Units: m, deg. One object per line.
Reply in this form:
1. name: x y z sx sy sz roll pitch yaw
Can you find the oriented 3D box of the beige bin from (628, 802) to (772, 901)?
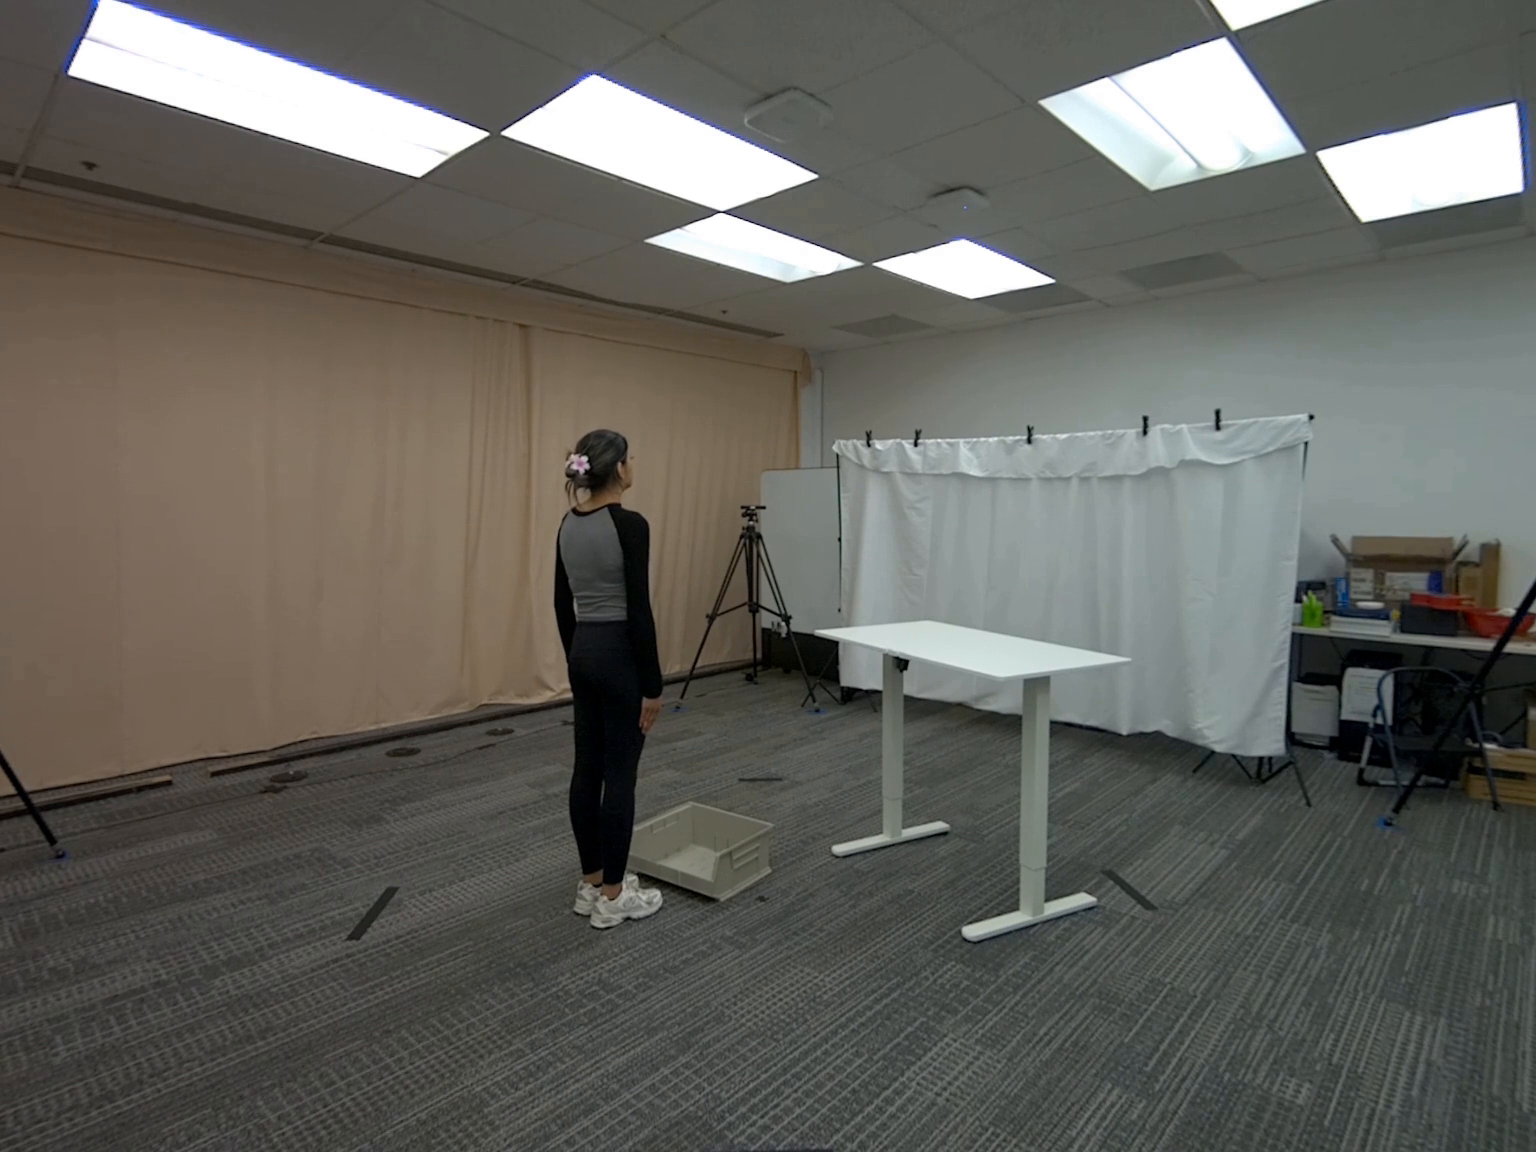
1. beige bin: -0.252 1.040 3.188 0.436 0.188 0.366 2 5 36
